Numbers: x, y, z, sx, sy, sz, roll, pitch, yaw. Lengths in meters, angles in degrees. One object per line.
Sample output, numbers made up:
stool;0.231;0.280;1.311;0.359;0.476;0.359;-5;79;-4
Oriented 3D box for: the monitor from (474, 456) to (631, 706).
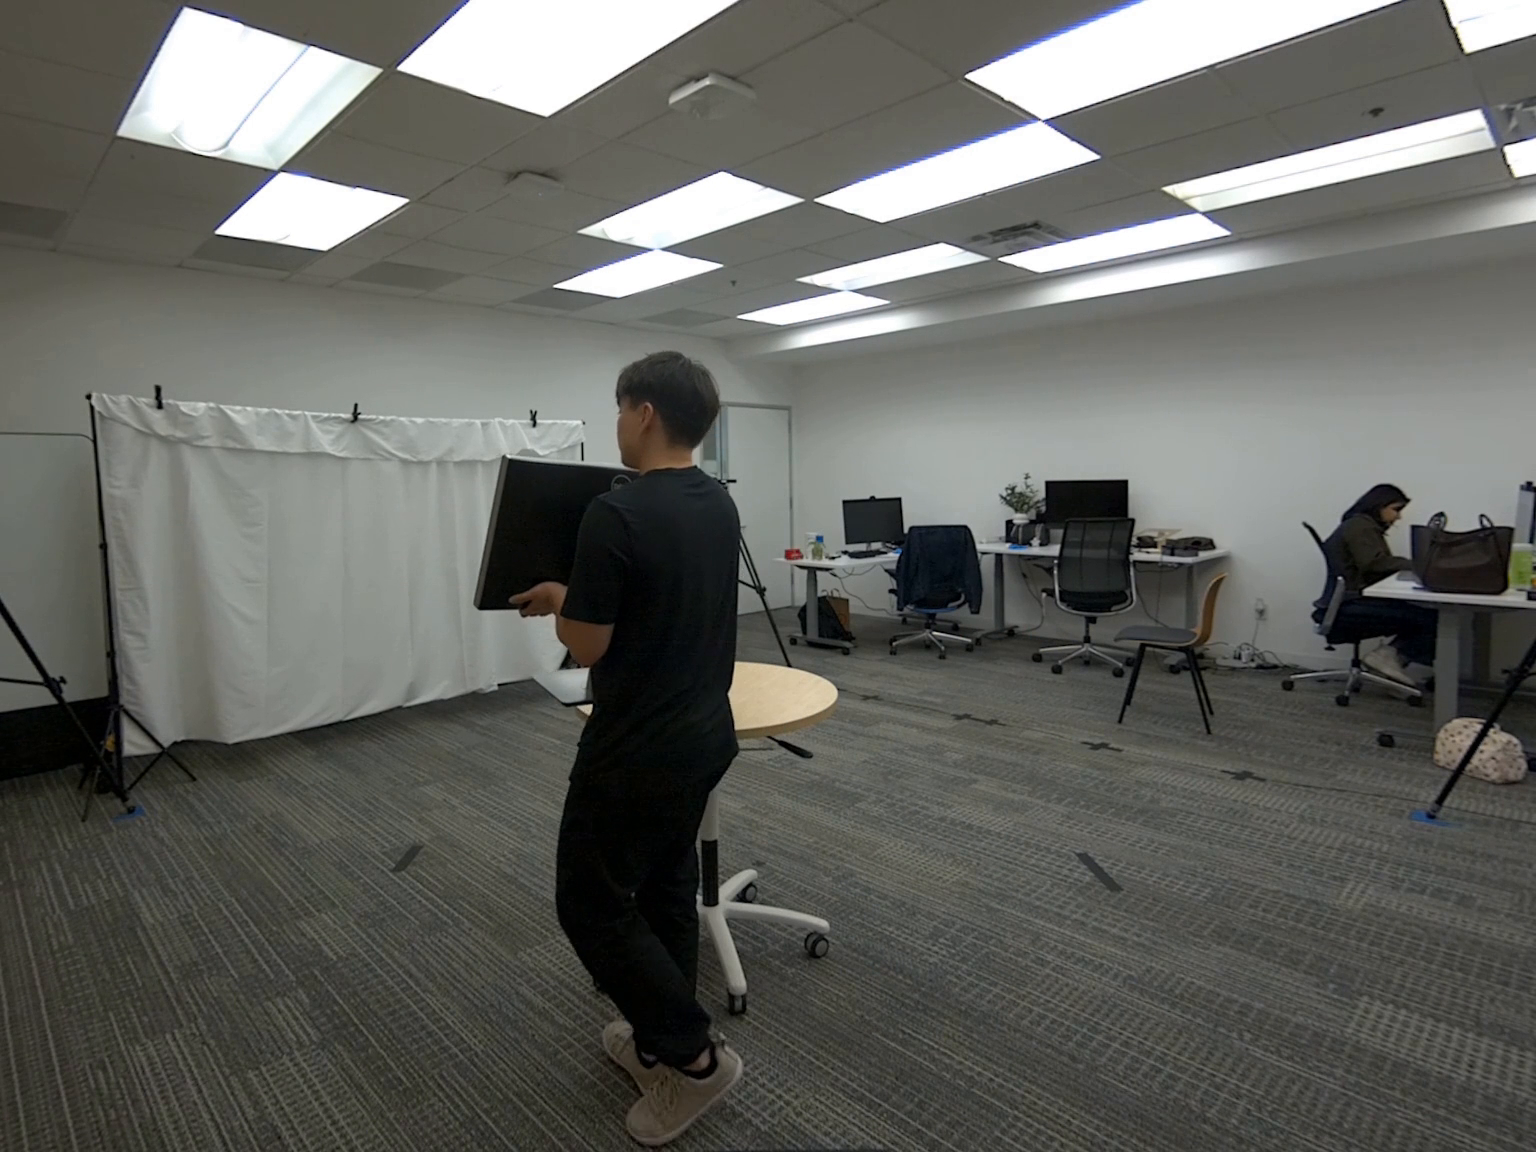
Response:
monitor;-0.385;0.005;2.008;0.523;0.520;0.194;1;10;-39
